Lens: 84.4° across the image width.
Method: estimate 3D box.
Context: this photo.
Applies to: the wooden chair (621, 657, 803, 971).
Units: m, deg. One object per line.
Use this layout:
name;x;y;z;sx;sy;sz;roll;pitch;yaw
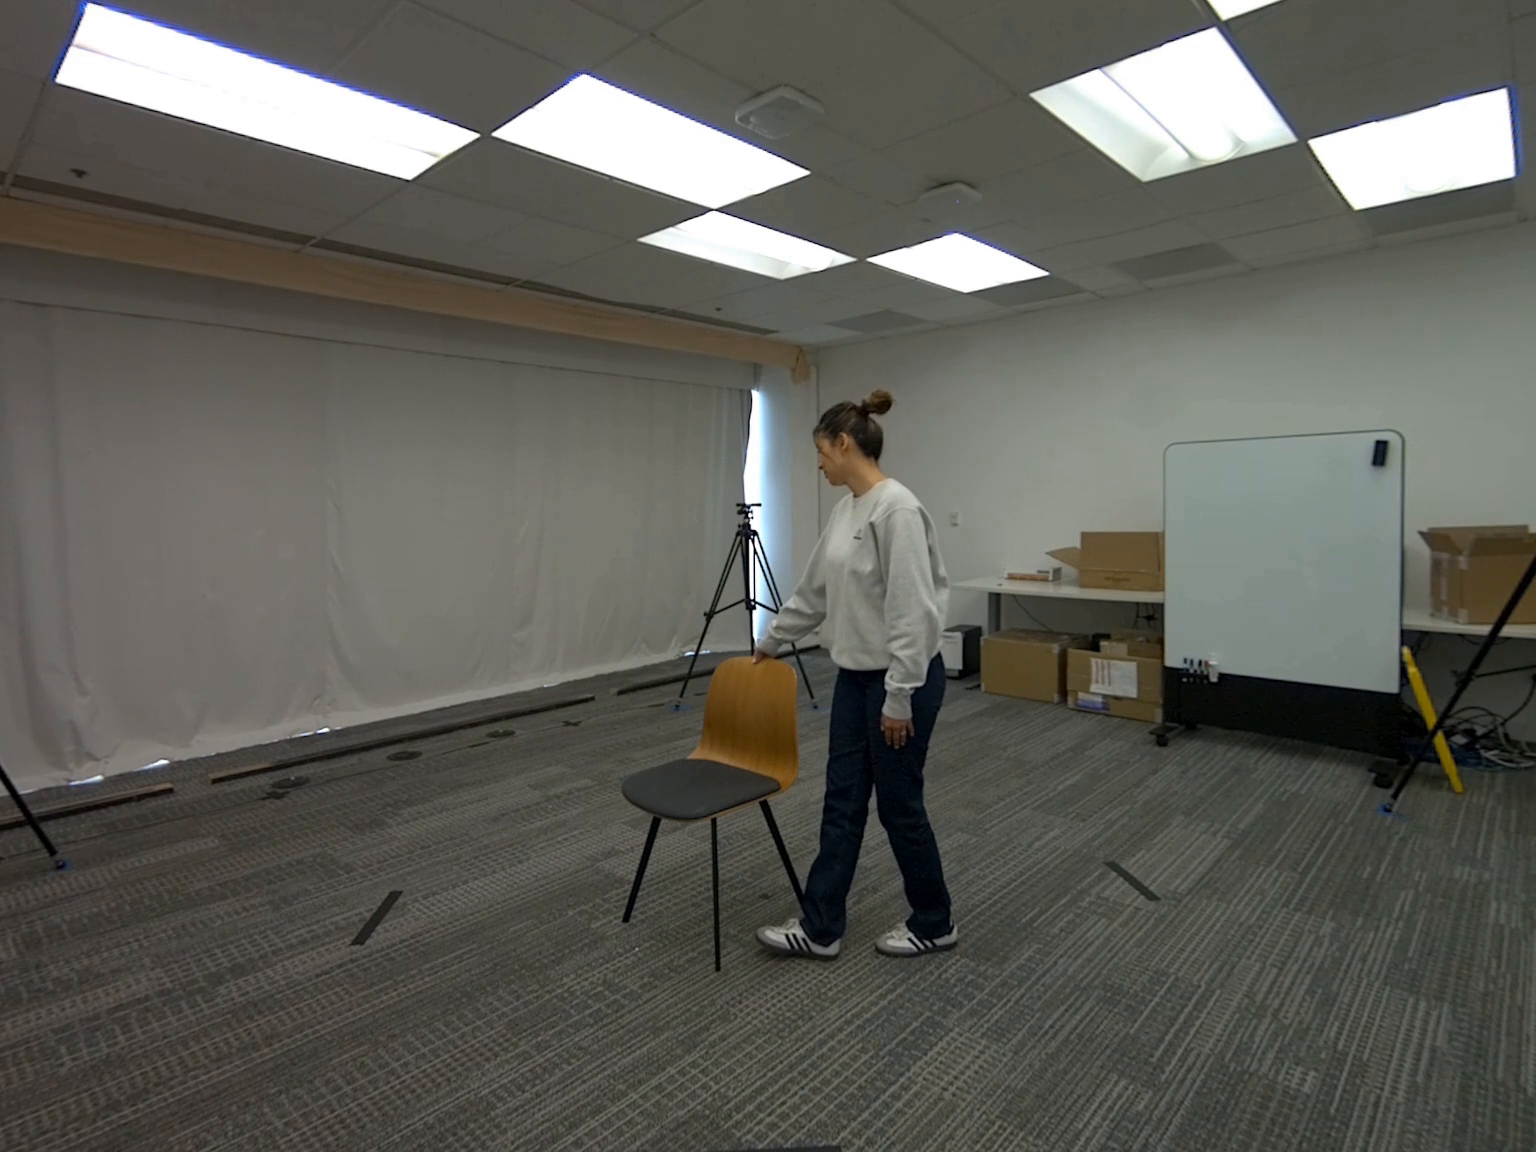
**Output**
wooden chair;-0.181;0.730;2.793;0.494;0.877;0.506;3;1;43
